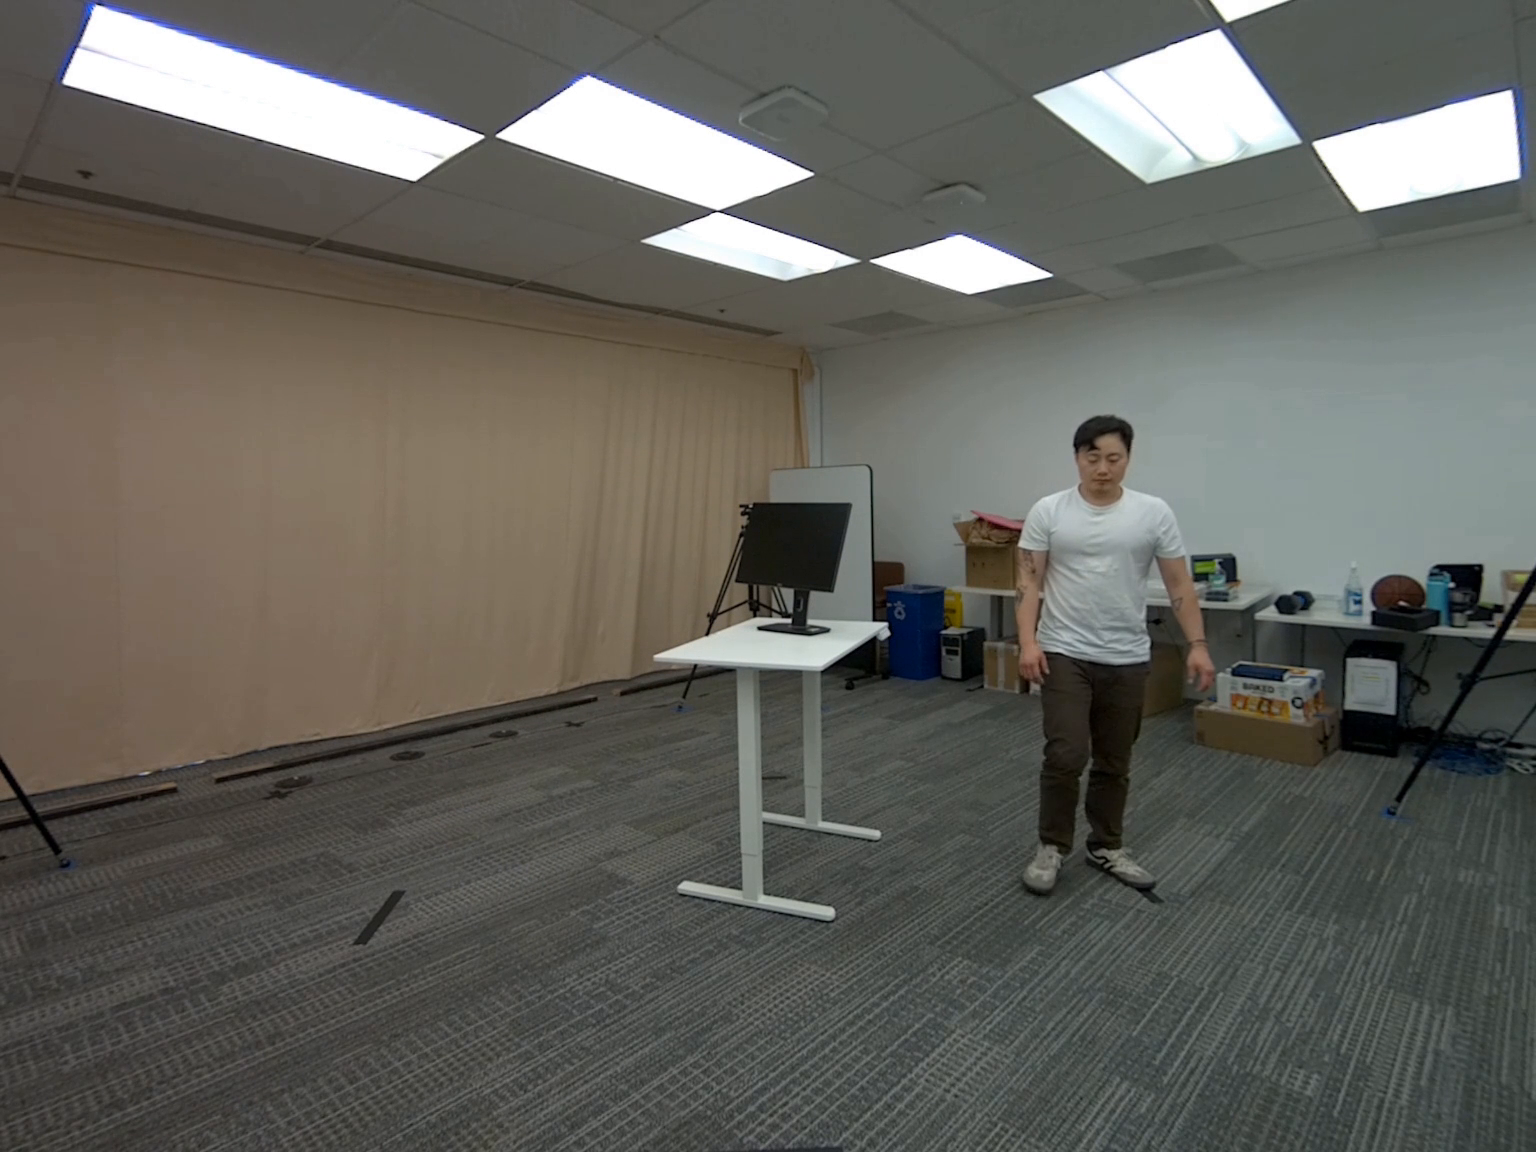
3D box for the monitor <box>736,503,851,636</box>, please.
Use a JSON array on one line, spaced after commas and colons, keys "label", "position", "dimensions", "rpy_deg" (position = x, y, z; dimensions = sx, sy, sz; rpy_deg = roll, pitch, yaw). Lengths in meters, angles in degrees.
[{"label": "monitor", "position": [0.115, -0.033, 3.391], "dimensions": [0.557, 0.522, 0.181], "rpy_deg": [4, 1, 45]}]
